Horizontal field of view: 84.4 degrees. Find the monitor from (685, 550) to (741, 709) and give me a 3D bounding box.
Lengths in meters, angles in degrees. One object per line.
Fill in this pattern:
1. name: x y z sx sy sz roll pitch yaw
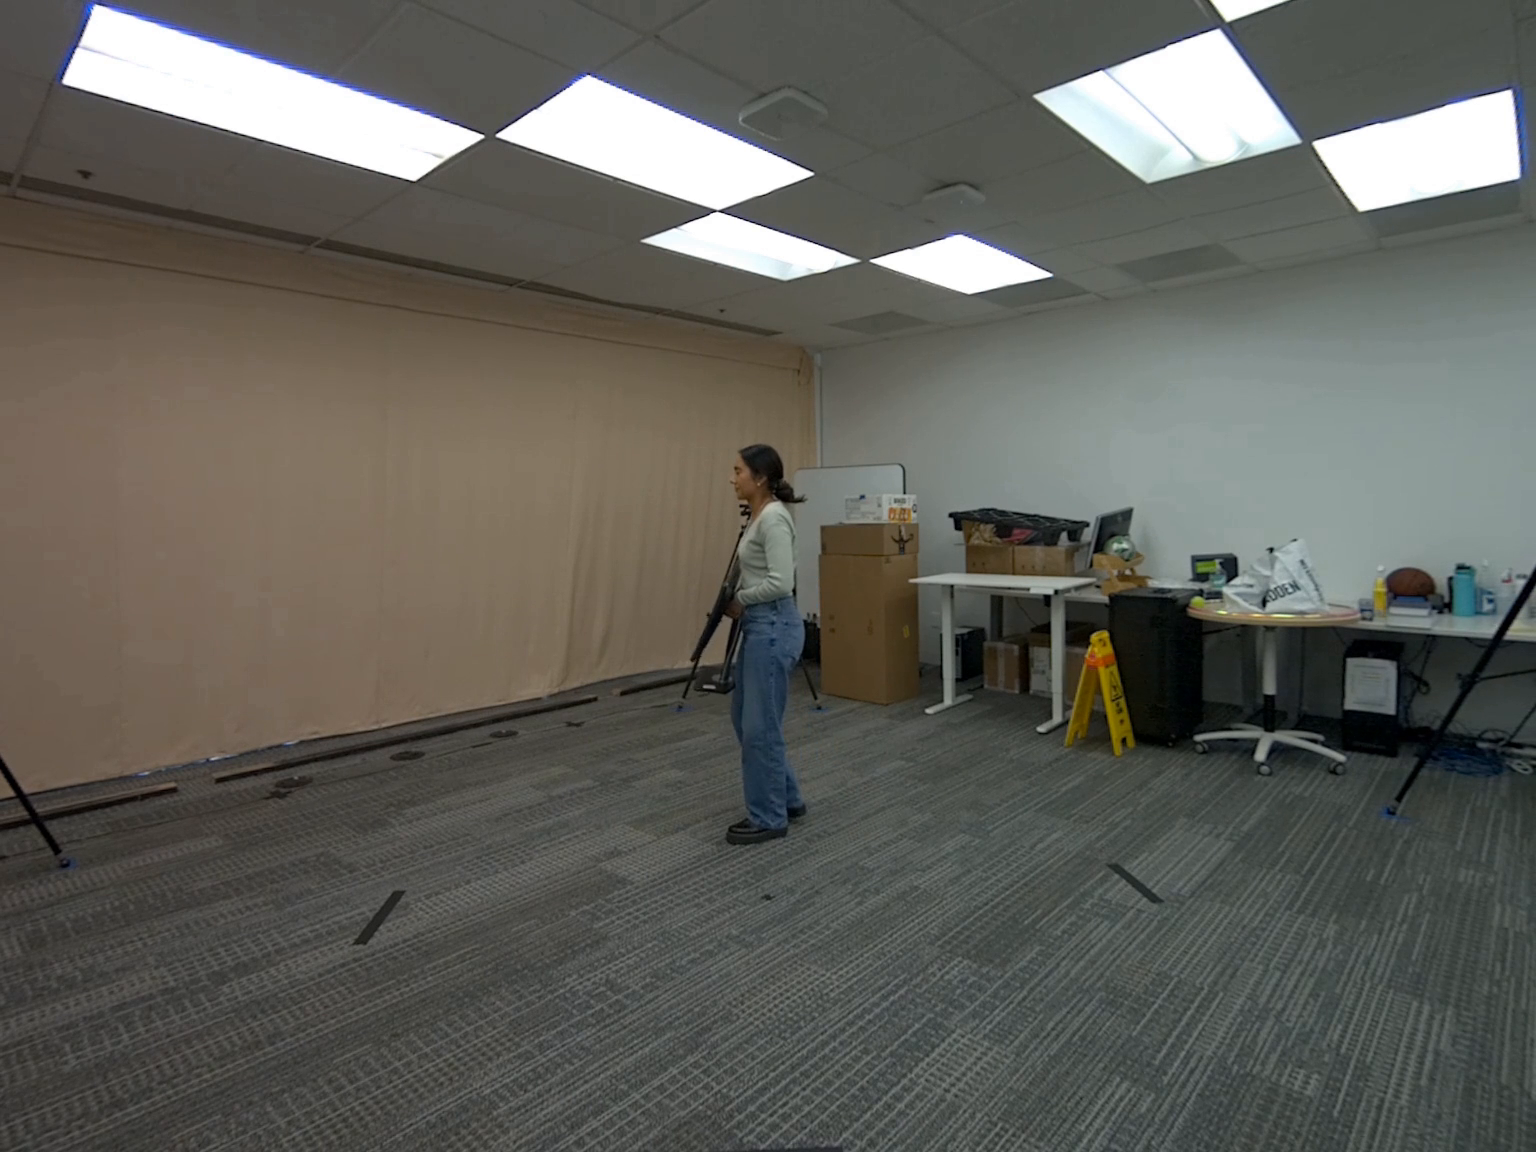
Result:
1. monitor: -0.199 0.207 3.614 0.175 0.512 0.531 7 14 3
